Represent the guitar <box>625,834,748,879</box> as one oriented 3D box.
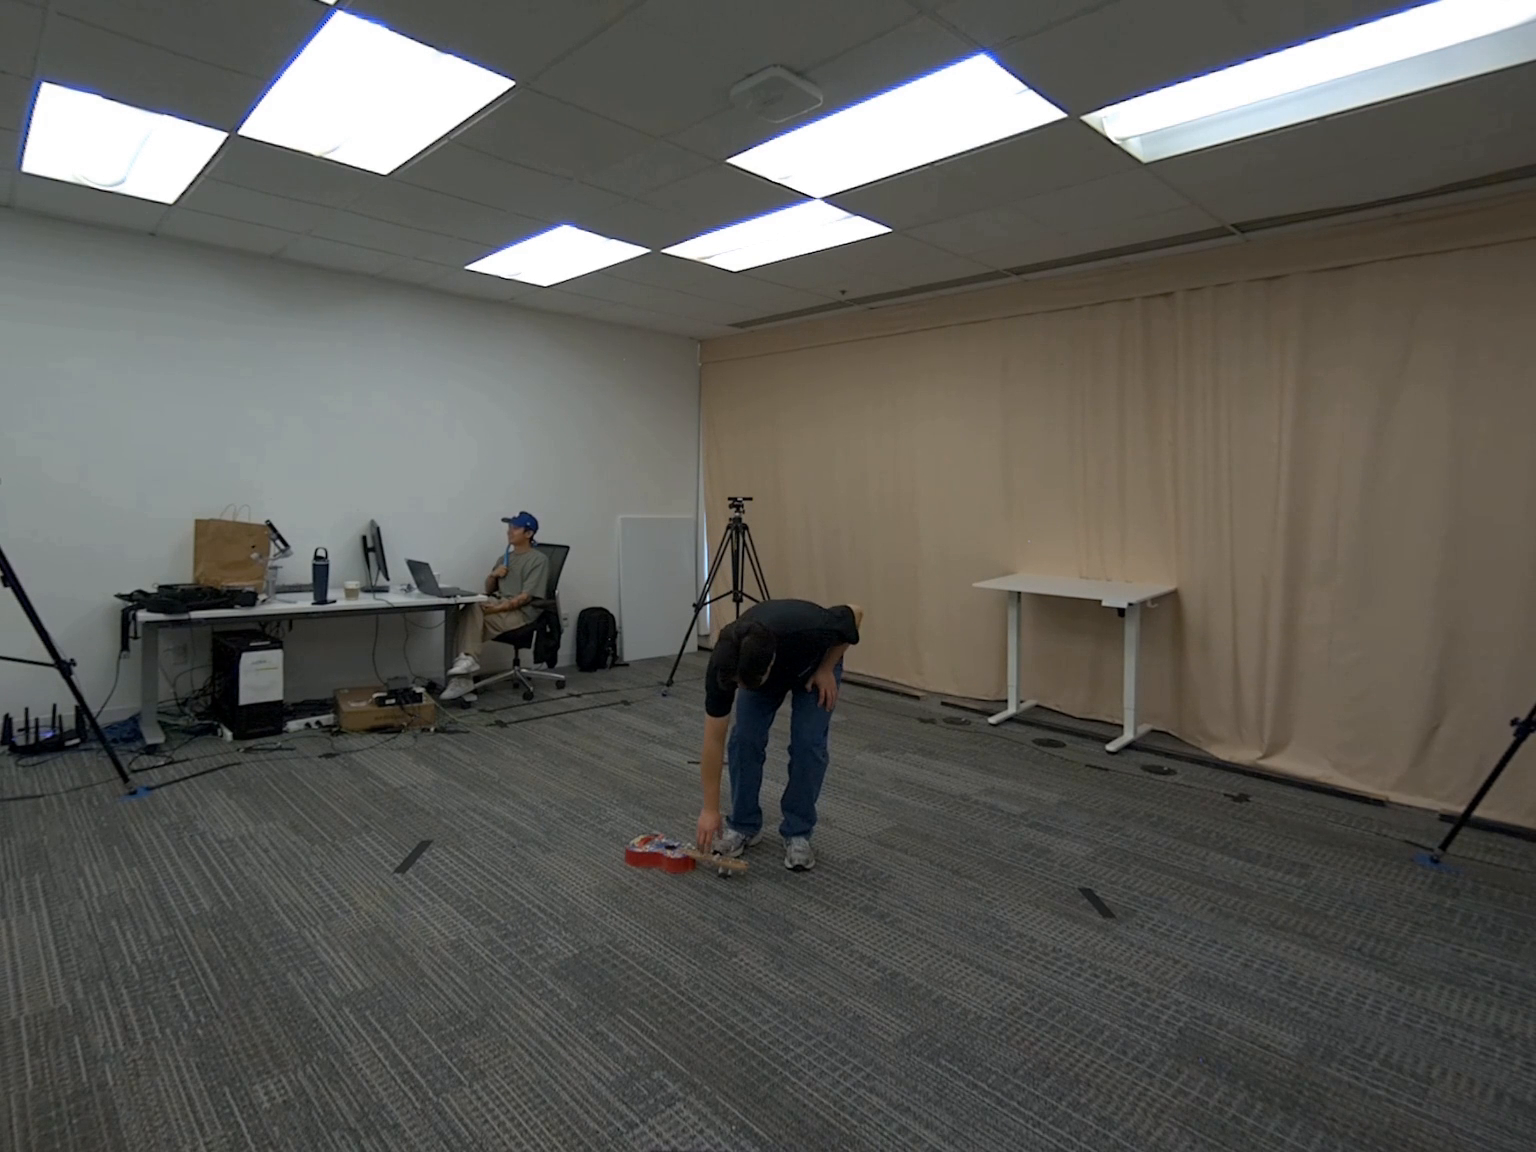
[{"bbox_3d":[-0.324,1.067,3.147,0.510,0.070,0.189,4,6,35],"label":"guitar"}]
